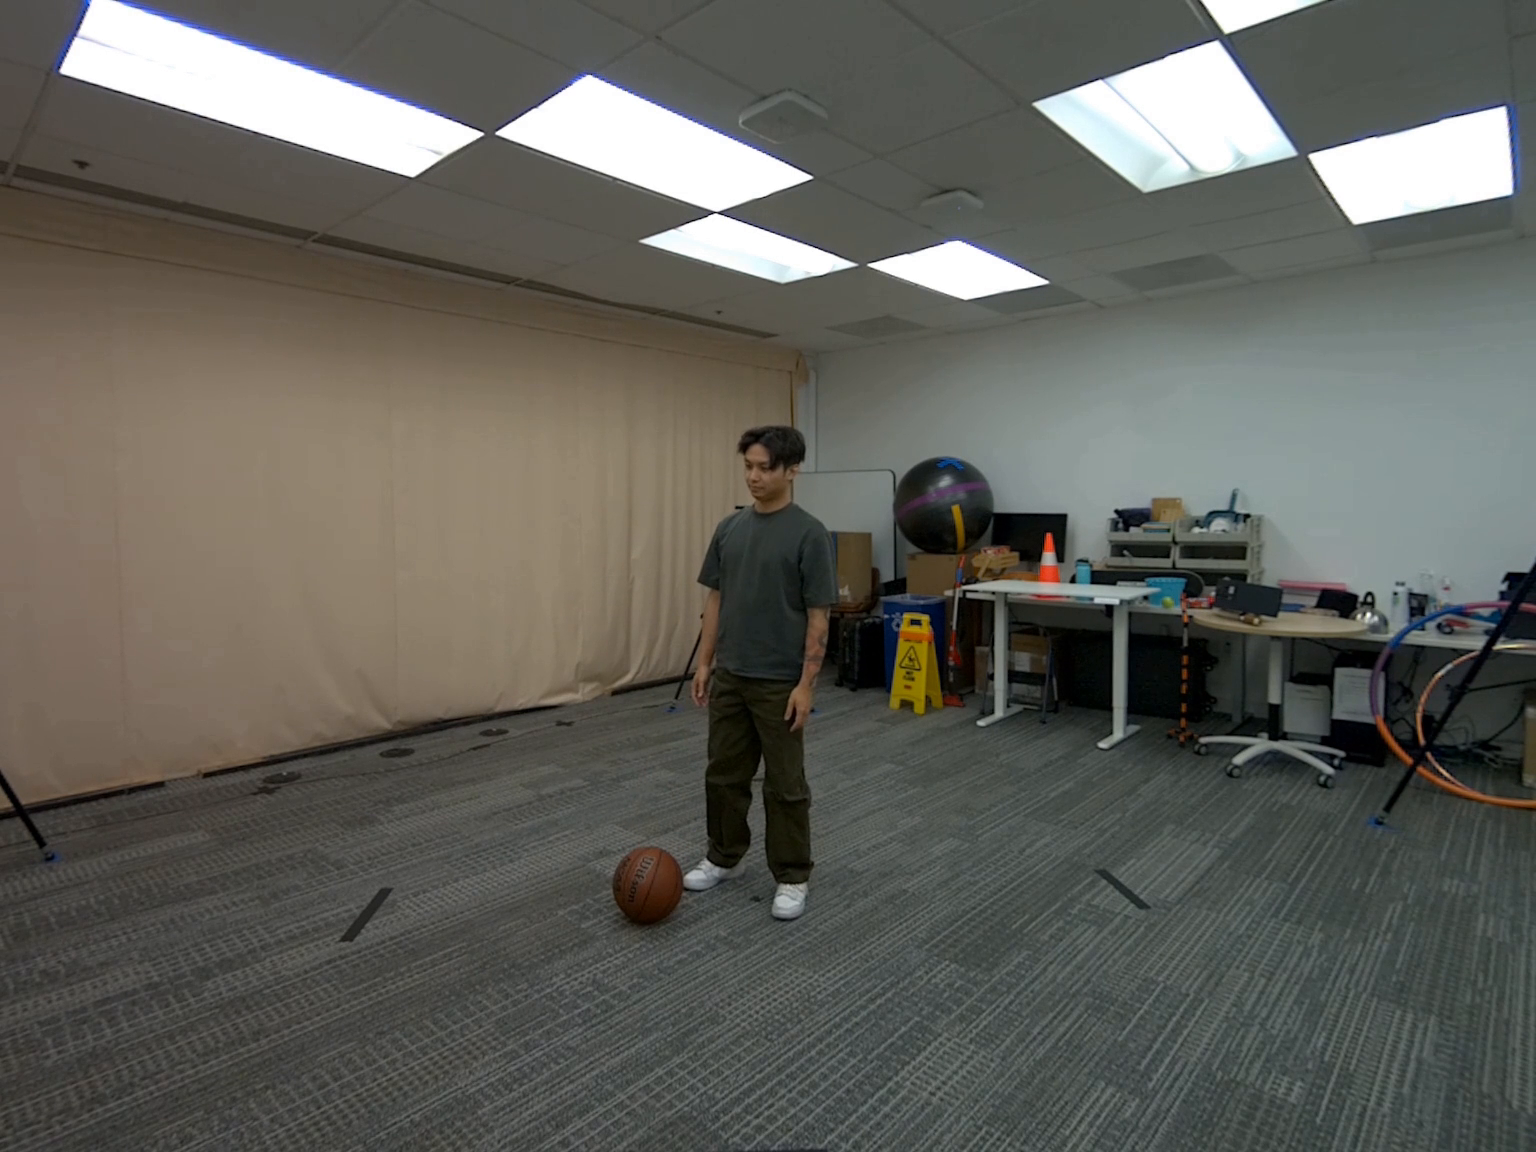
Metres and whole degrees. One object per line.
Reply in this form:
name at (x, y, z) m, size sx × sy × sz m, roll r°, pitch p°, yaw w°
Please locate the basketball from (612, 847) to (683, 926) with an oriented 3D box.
basketball at (-0.398, 1.031, 2.840) m, size 0.236 × 0.235 × 0.237 m, roll 0°, pitch 4°, yaw -2°
